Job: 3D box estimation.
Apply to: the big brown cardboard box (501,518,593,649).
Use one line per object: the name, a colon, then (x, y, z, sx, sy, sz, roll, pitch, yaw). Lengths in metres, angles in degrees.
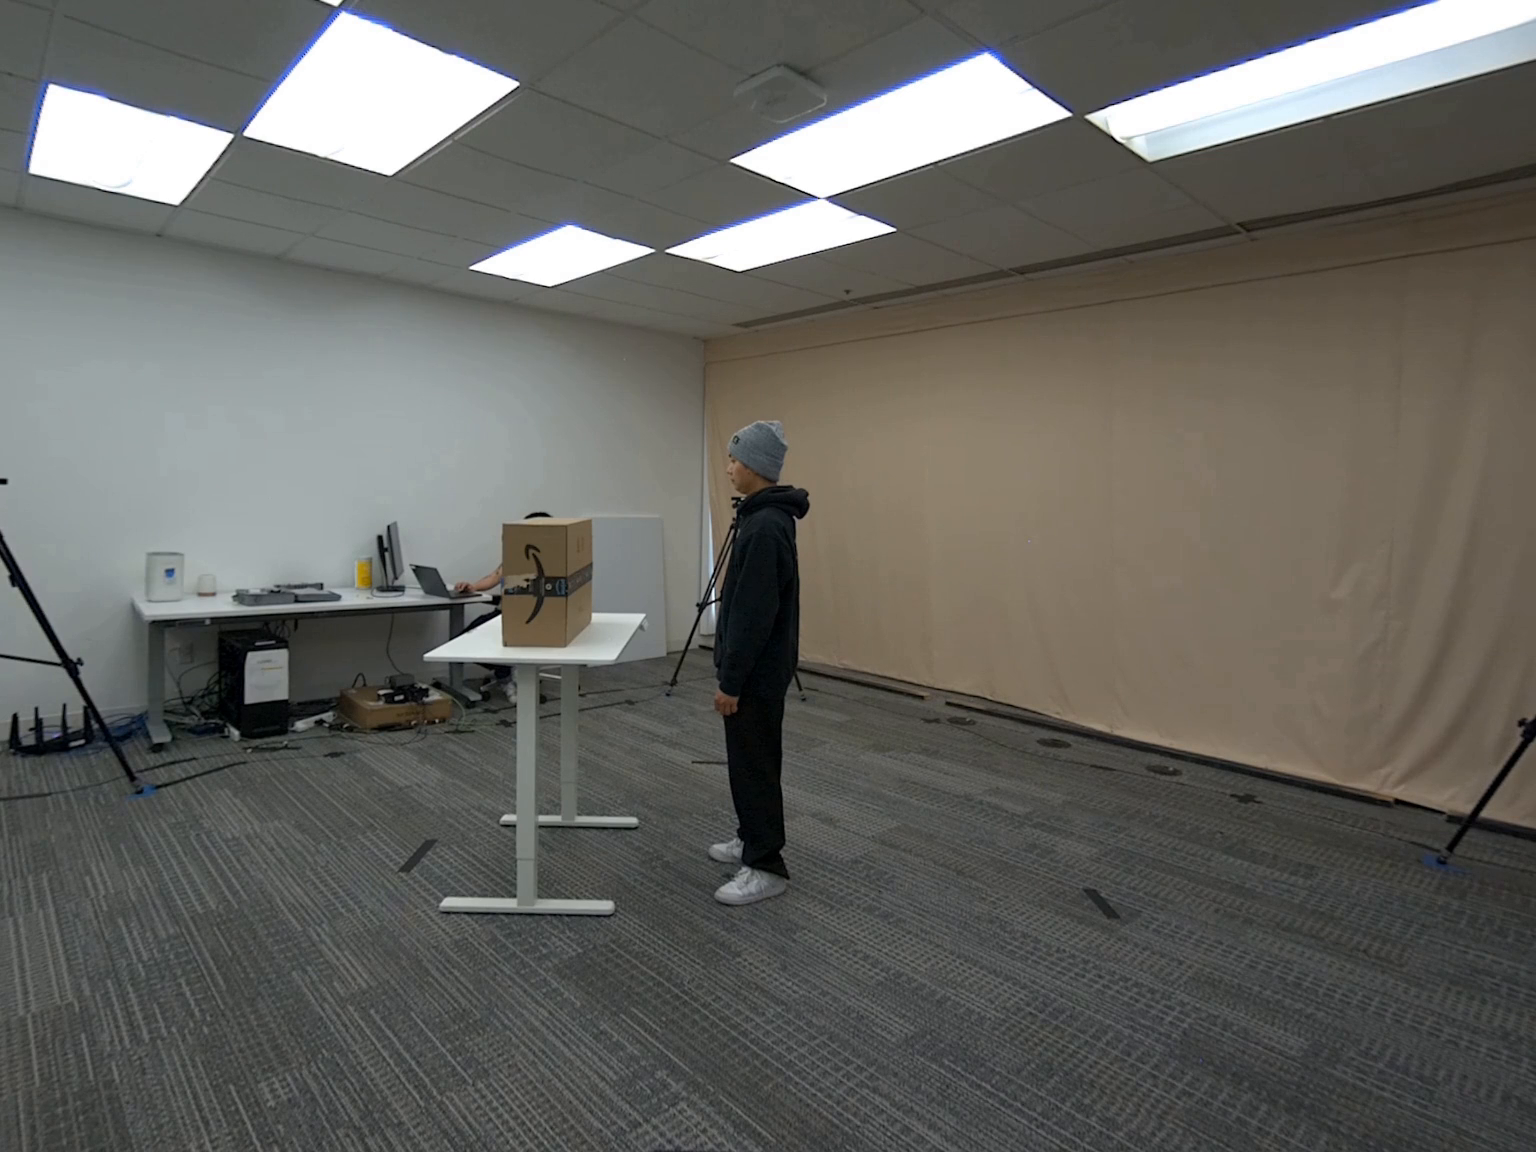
big brown cardboard box: (-0.795, 0.004, 3.081, 0.233, 0.416, 0.592, 0, 5, -3)
